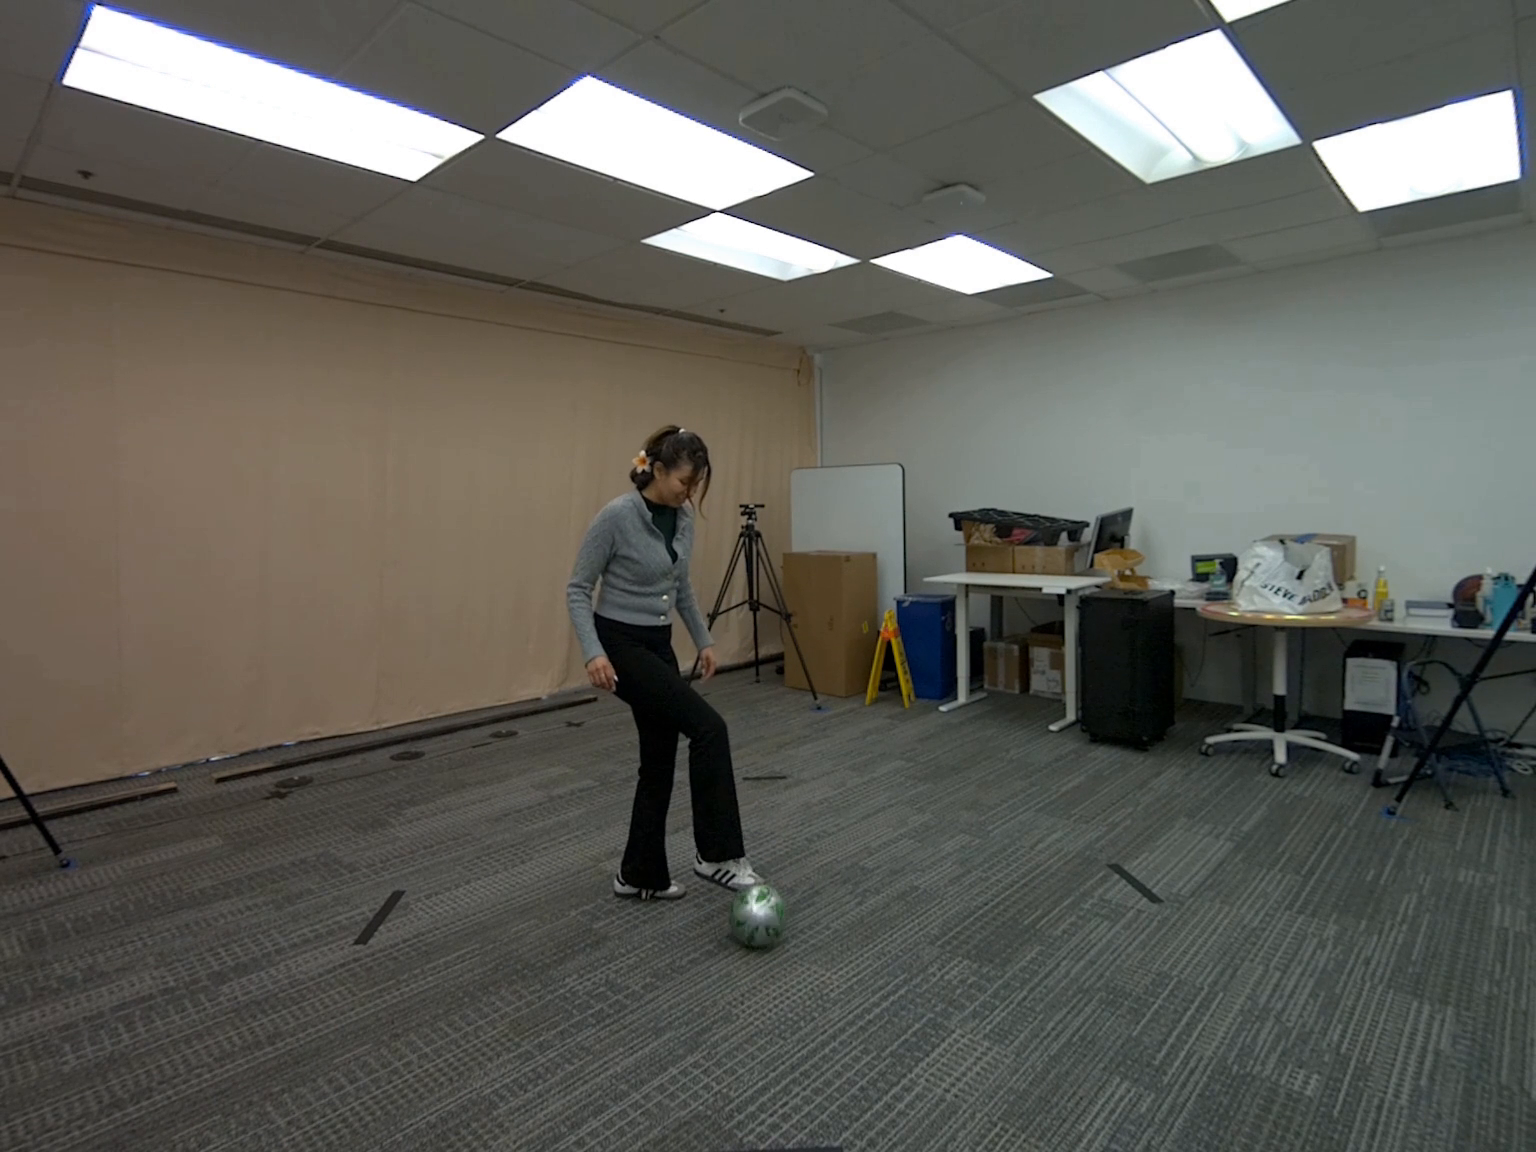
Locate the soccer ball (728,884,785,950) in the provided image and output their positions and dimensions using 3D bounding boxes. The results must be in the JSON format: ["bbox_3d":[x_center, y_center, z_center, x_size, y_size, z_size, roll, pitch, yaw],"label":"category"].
[{"bbox_3d":[-0.031,1.071,2.675,0.187,0.187,0.188,-1,4,-2],"label":"soccer ball"}]
